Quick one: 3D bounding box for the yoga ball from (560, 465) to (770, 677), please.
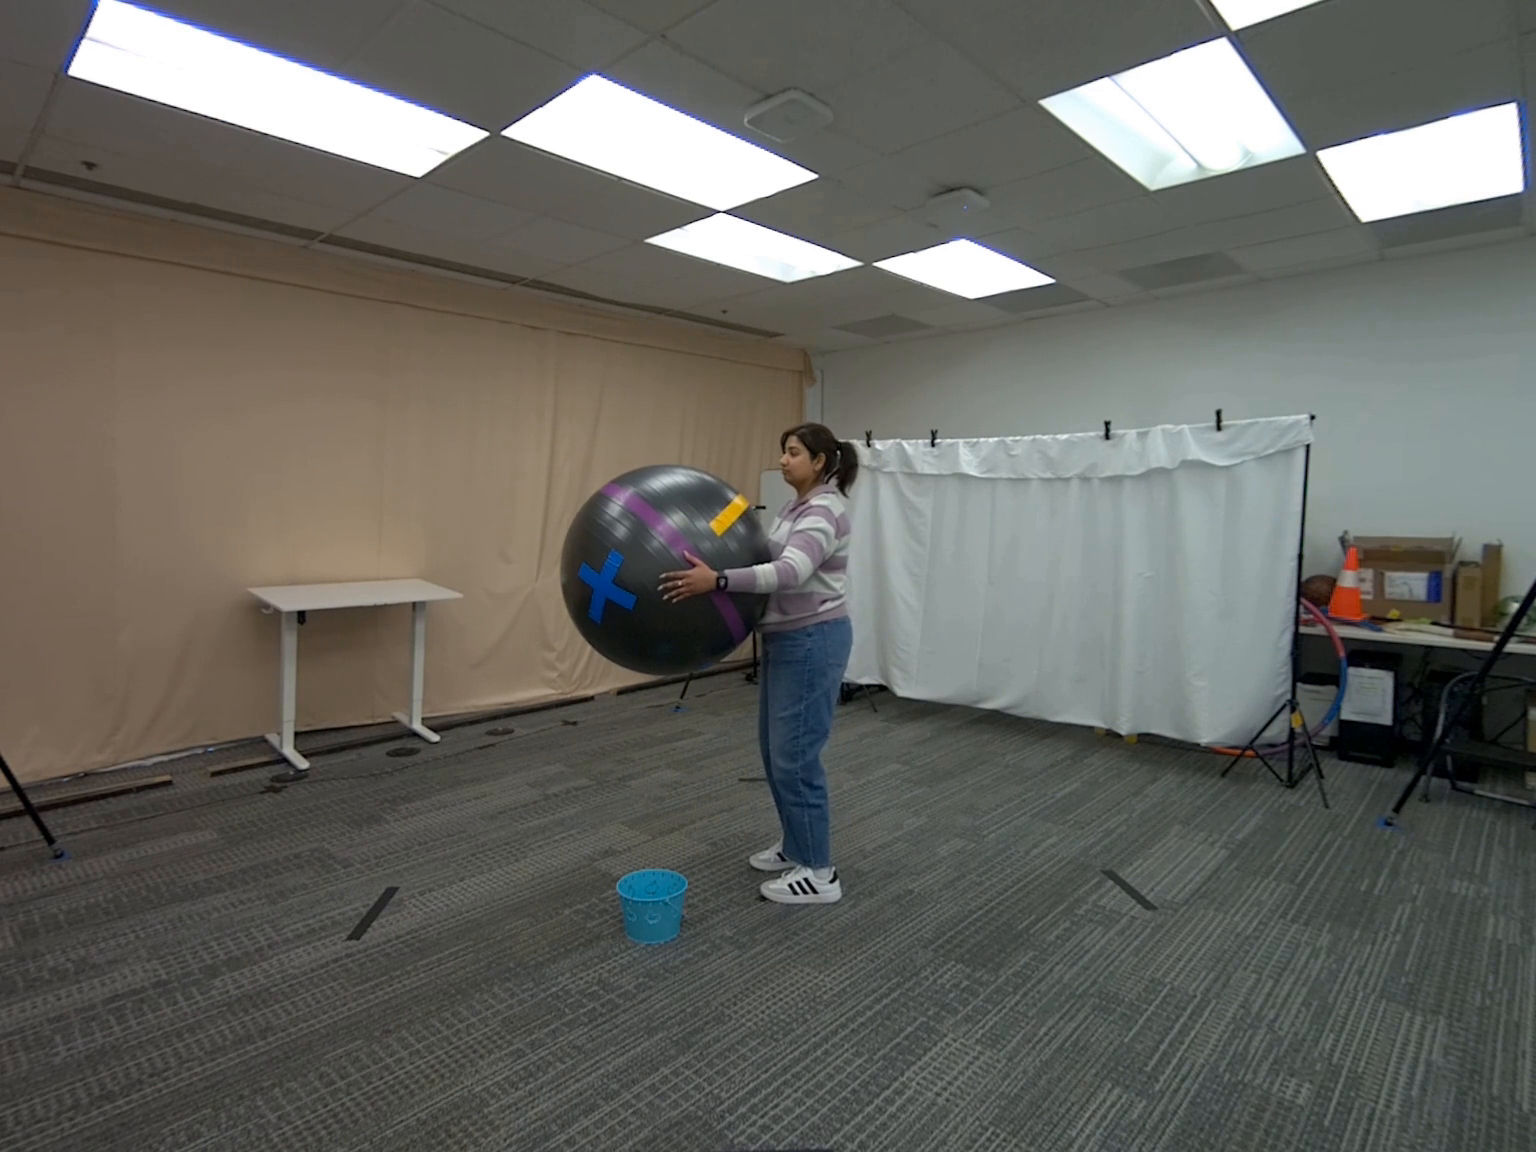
[{"bbox_3d":[-0.368,-0.015,3.041,0.757,0.756,0.761,0,4,-2],"label":"yoga ball"}]
